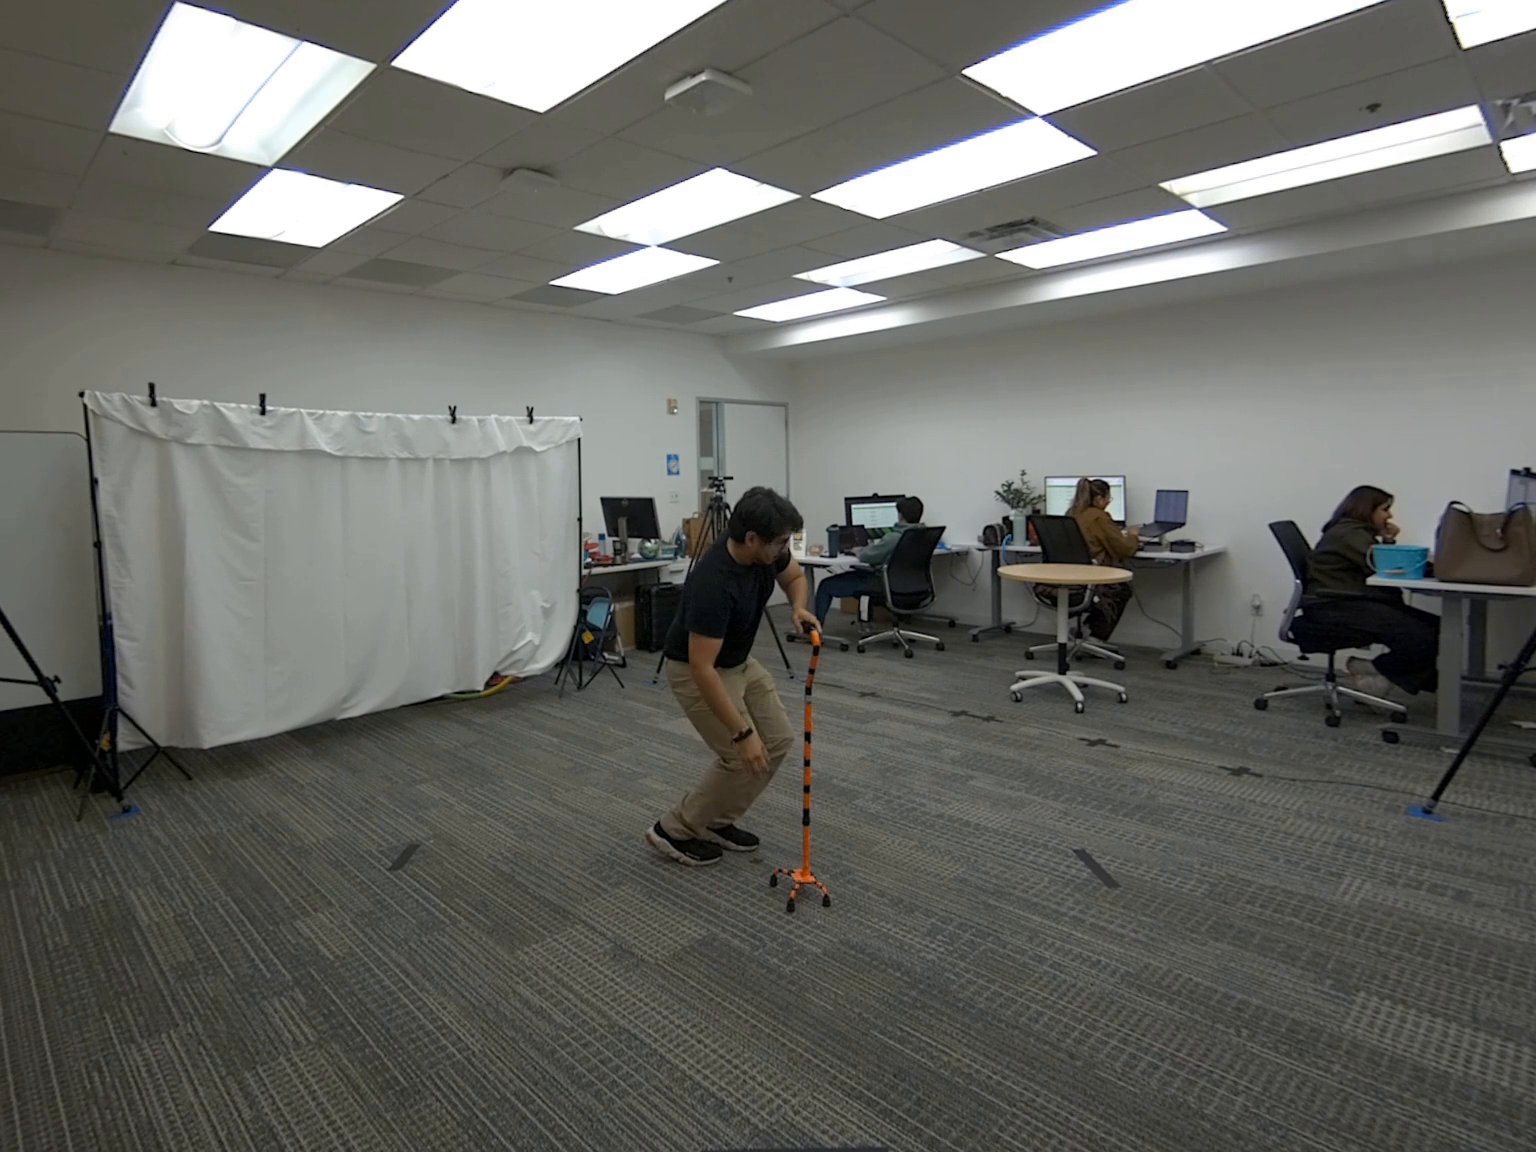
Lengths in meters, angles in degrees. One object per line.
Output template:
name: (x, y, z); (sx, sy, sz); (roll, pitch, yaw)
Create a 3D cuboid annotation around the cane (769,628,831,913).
cane: (0.121, 0.618, 2.824); (0.149, 0.905, 0.210); (1, 3, -16)
